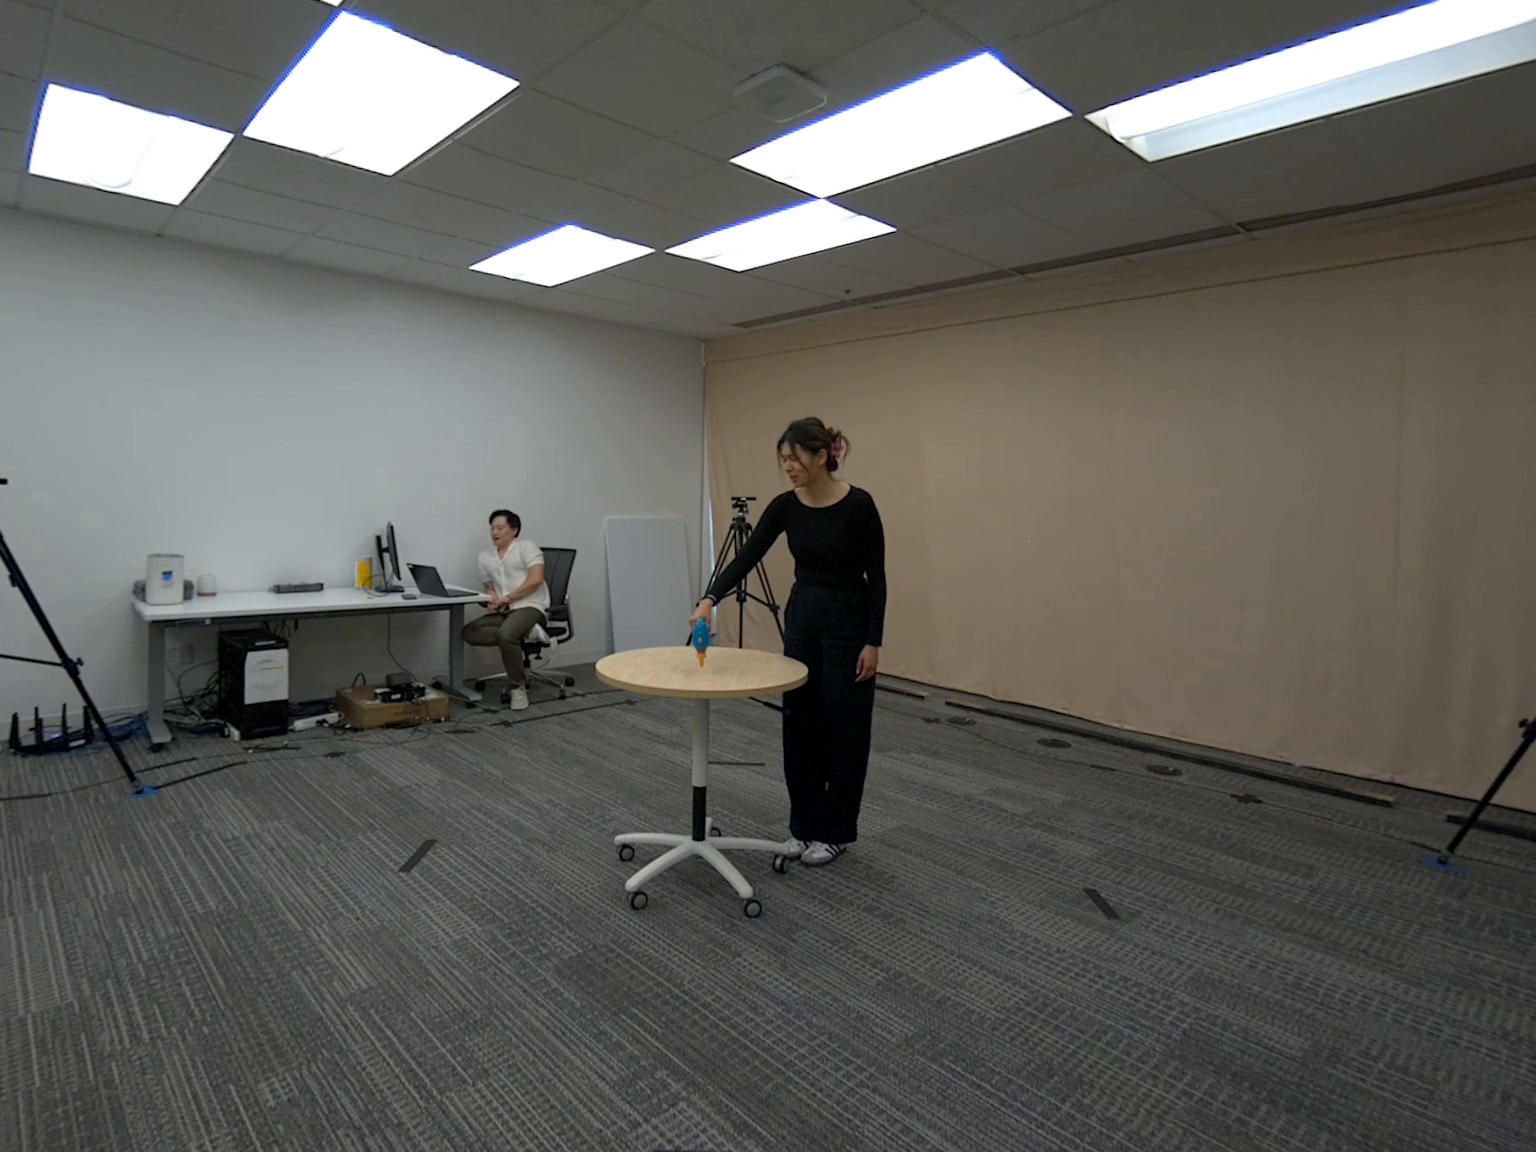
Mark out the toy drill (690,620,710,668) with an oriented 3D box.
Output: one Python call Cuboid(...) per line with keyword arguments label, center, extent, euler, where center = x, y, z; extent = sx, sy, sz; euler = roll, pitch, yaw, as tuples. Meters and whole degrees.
Cuboid(label="toy drill", center=(-0.246, 0.233, 2.983), extent=(0.061, 0.169, 0.145), euler=(-7, 3, 6))
